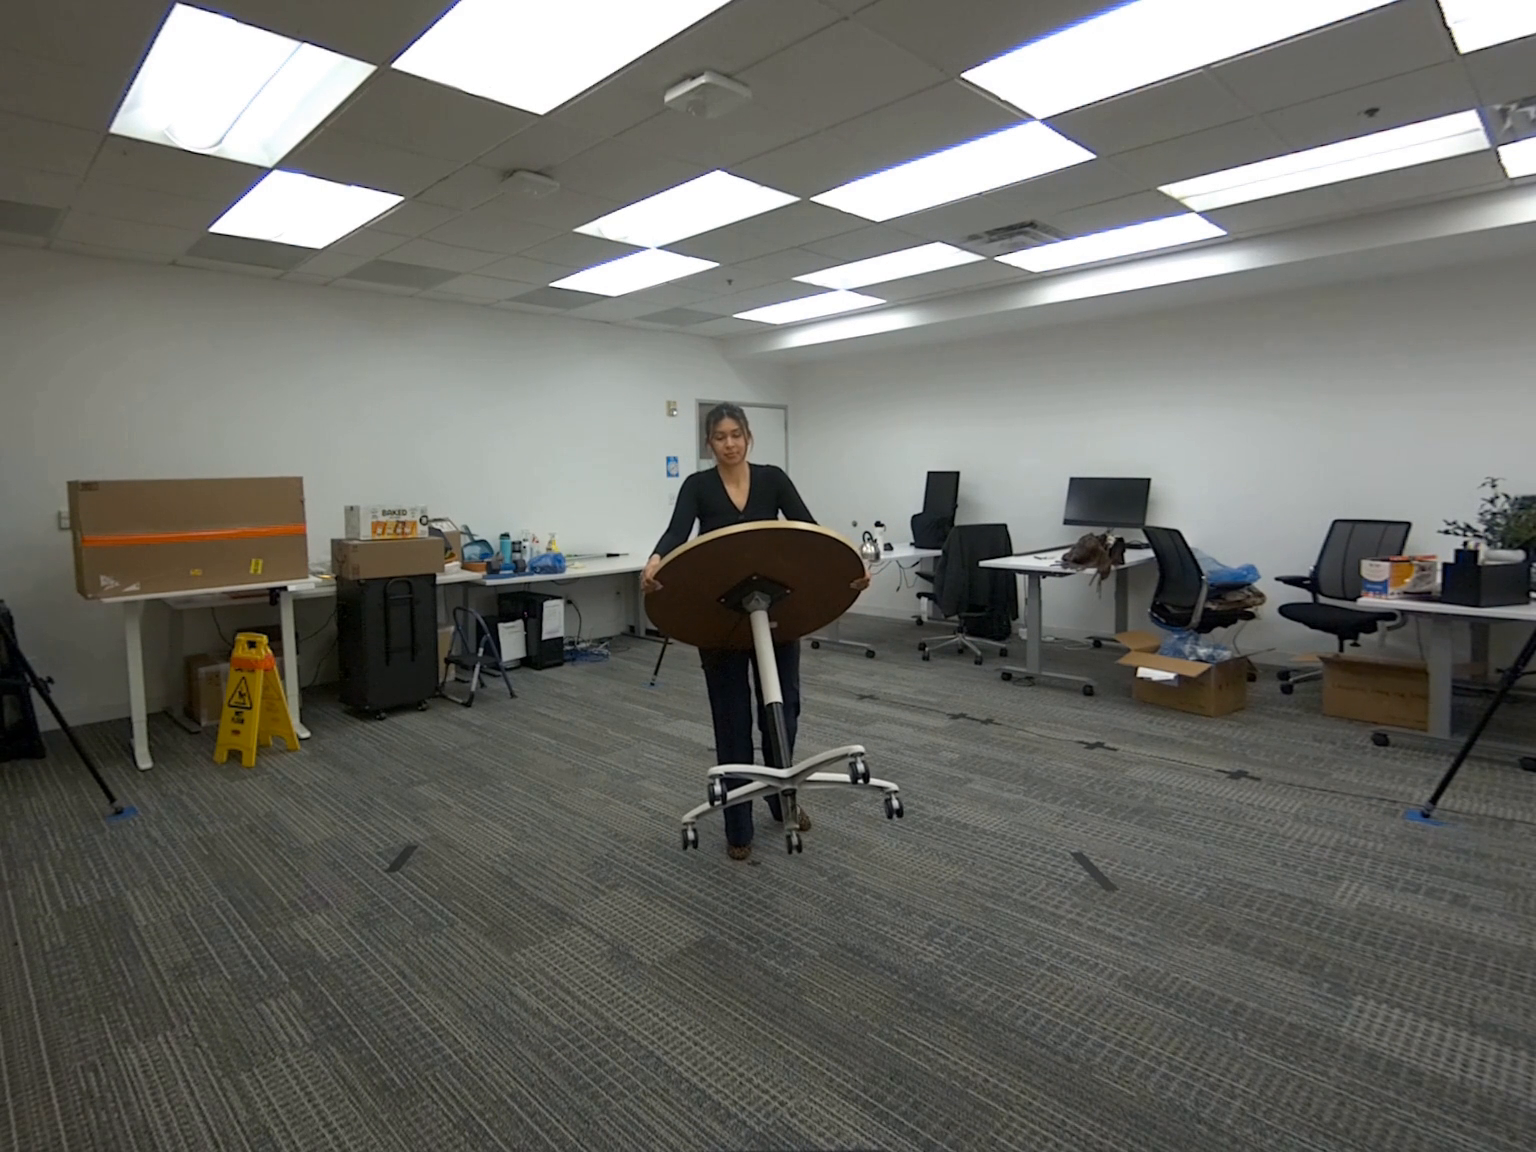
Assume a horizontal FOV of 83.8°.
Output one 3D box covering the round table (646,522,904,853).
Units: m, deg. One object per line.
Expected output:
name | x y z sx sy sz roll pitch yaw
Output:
round table | 0.018 0.381 2.709 0.760 0.818 0.745 -6 -34 -6
